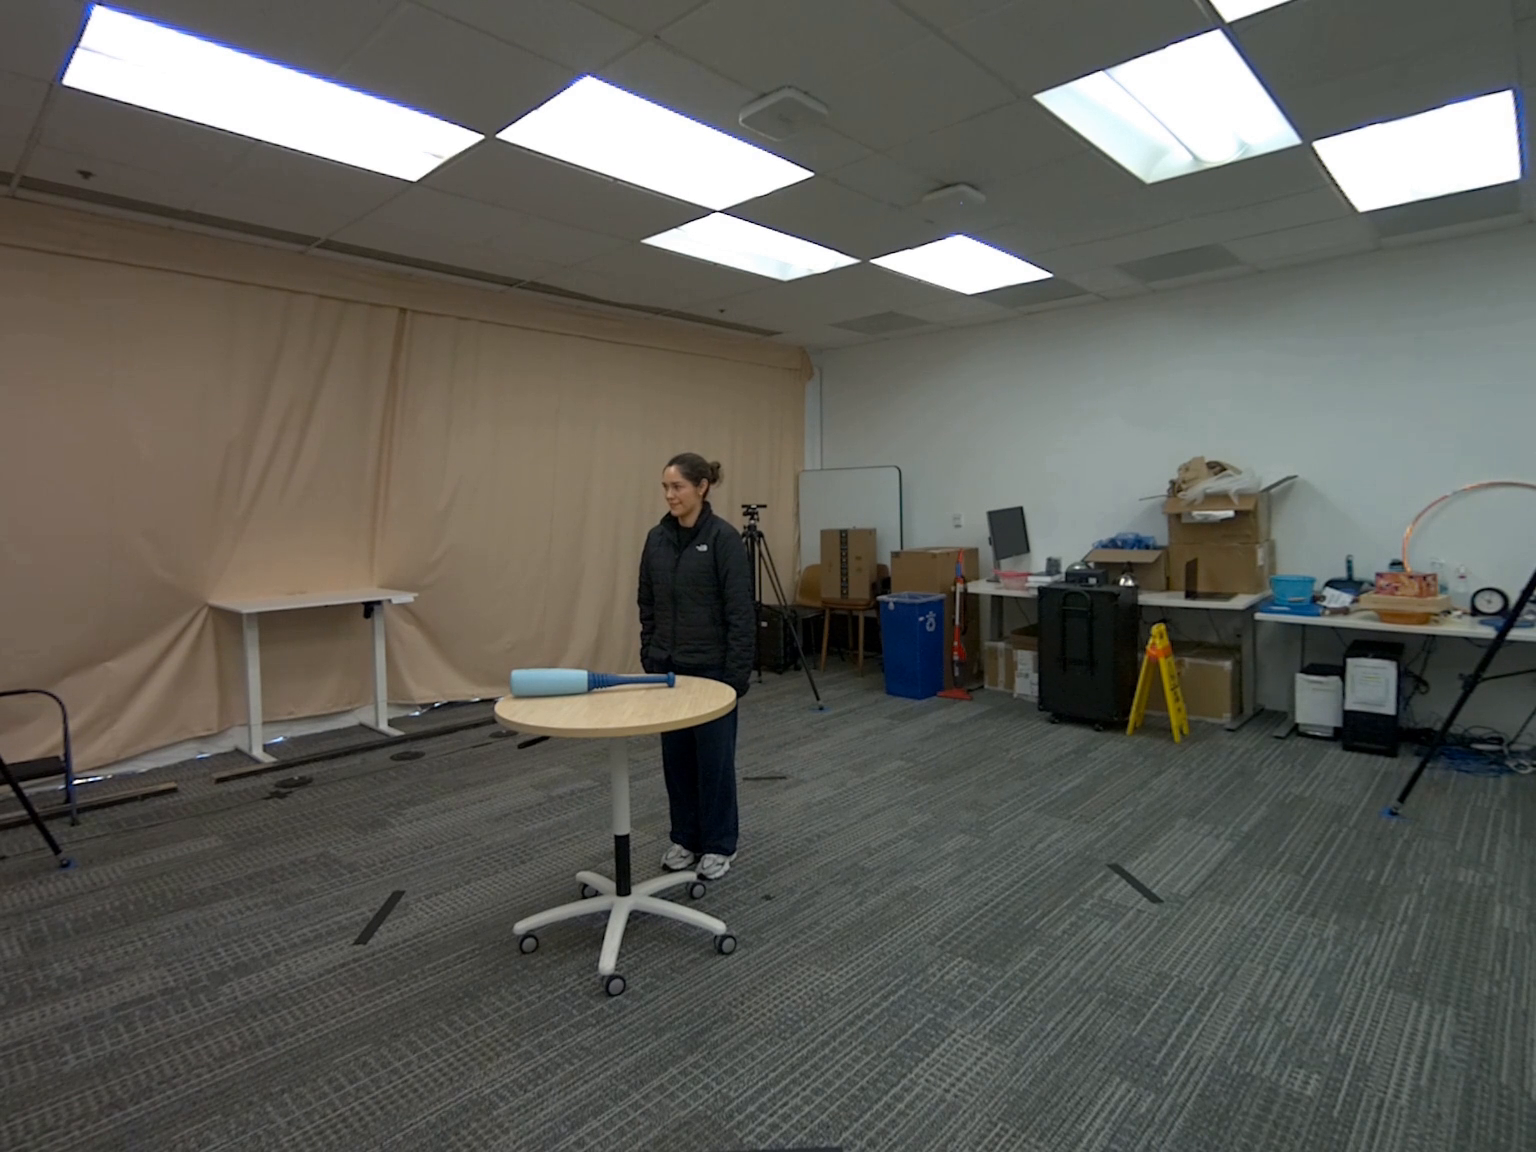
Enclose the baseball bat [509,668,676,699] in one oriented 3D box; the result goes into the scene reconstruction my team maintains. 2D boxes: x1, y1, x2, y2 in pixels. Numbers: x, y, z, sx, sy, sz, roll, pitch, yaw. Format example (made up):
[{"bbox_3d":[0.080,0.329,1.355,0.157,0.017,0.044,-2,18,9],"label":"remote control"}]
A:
[{"bbox_3d":[-0.586,0.360,2.770,0.538,0.089,0.090,2,3,-9],"label":"baseball bat"}]
